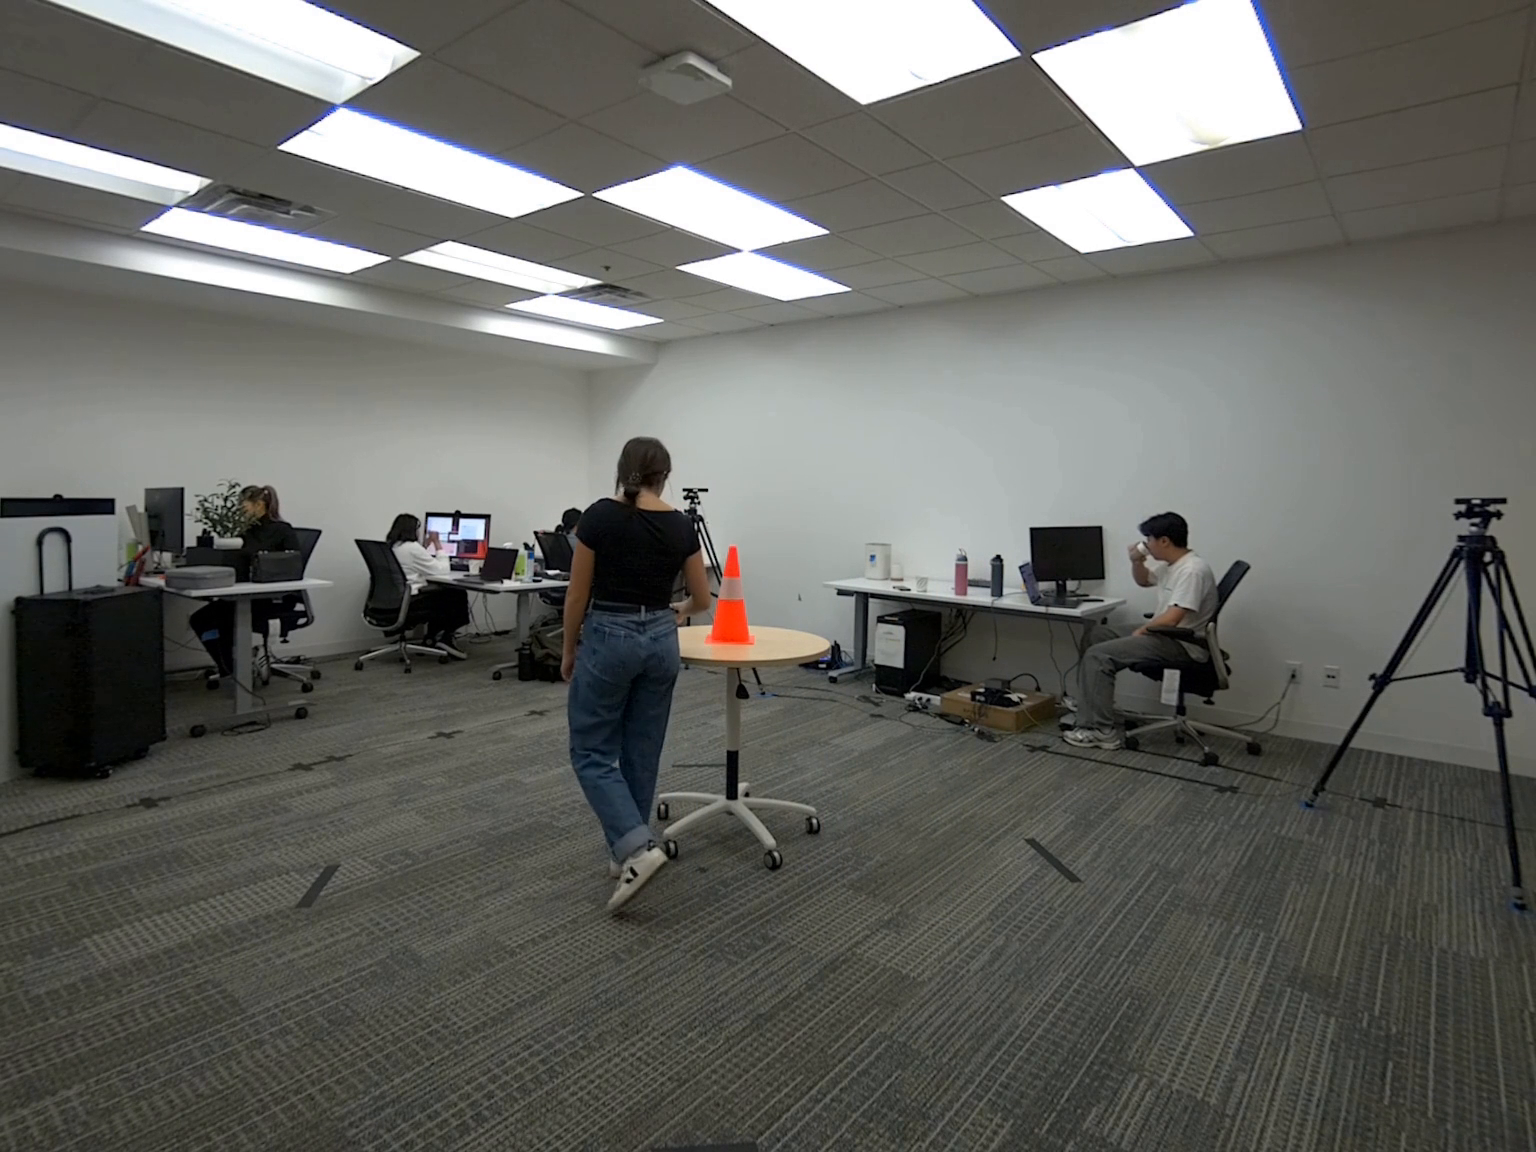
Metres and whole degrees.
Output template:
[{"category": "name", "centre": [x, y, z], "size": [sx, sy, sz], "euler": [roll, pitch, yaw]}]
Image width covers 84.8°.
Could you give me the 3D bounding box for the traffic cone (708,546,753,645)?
[{"category": "traffic cone", "centre": [-0.146, 0.064, 3.441], "size": [0.205, 0.382, 0.204], "euler": [1, 4, 1]}]
